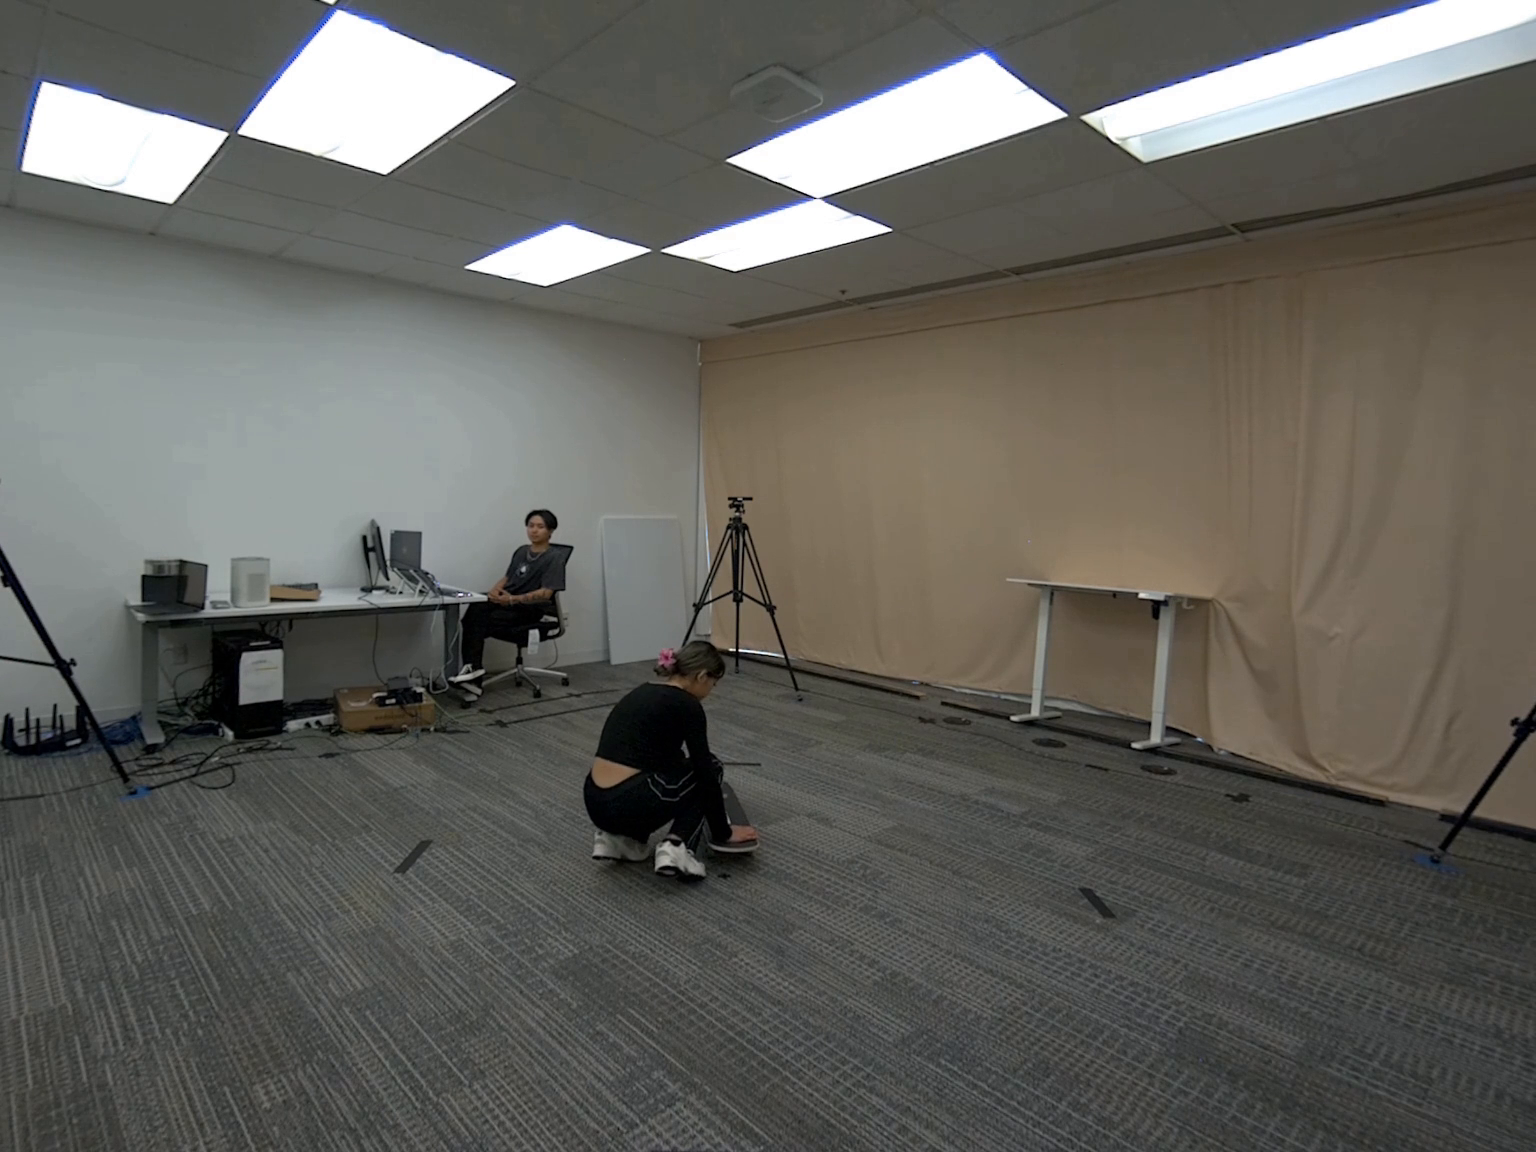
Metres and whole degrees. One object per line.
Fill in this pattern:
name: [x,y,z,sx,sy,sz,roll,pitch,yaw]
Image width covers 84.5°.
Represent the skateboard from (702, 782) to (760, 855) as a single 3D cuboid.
skateboard: [-0.201,1.016,3.482,0.192,0.110,0.795,2,6,-12]
